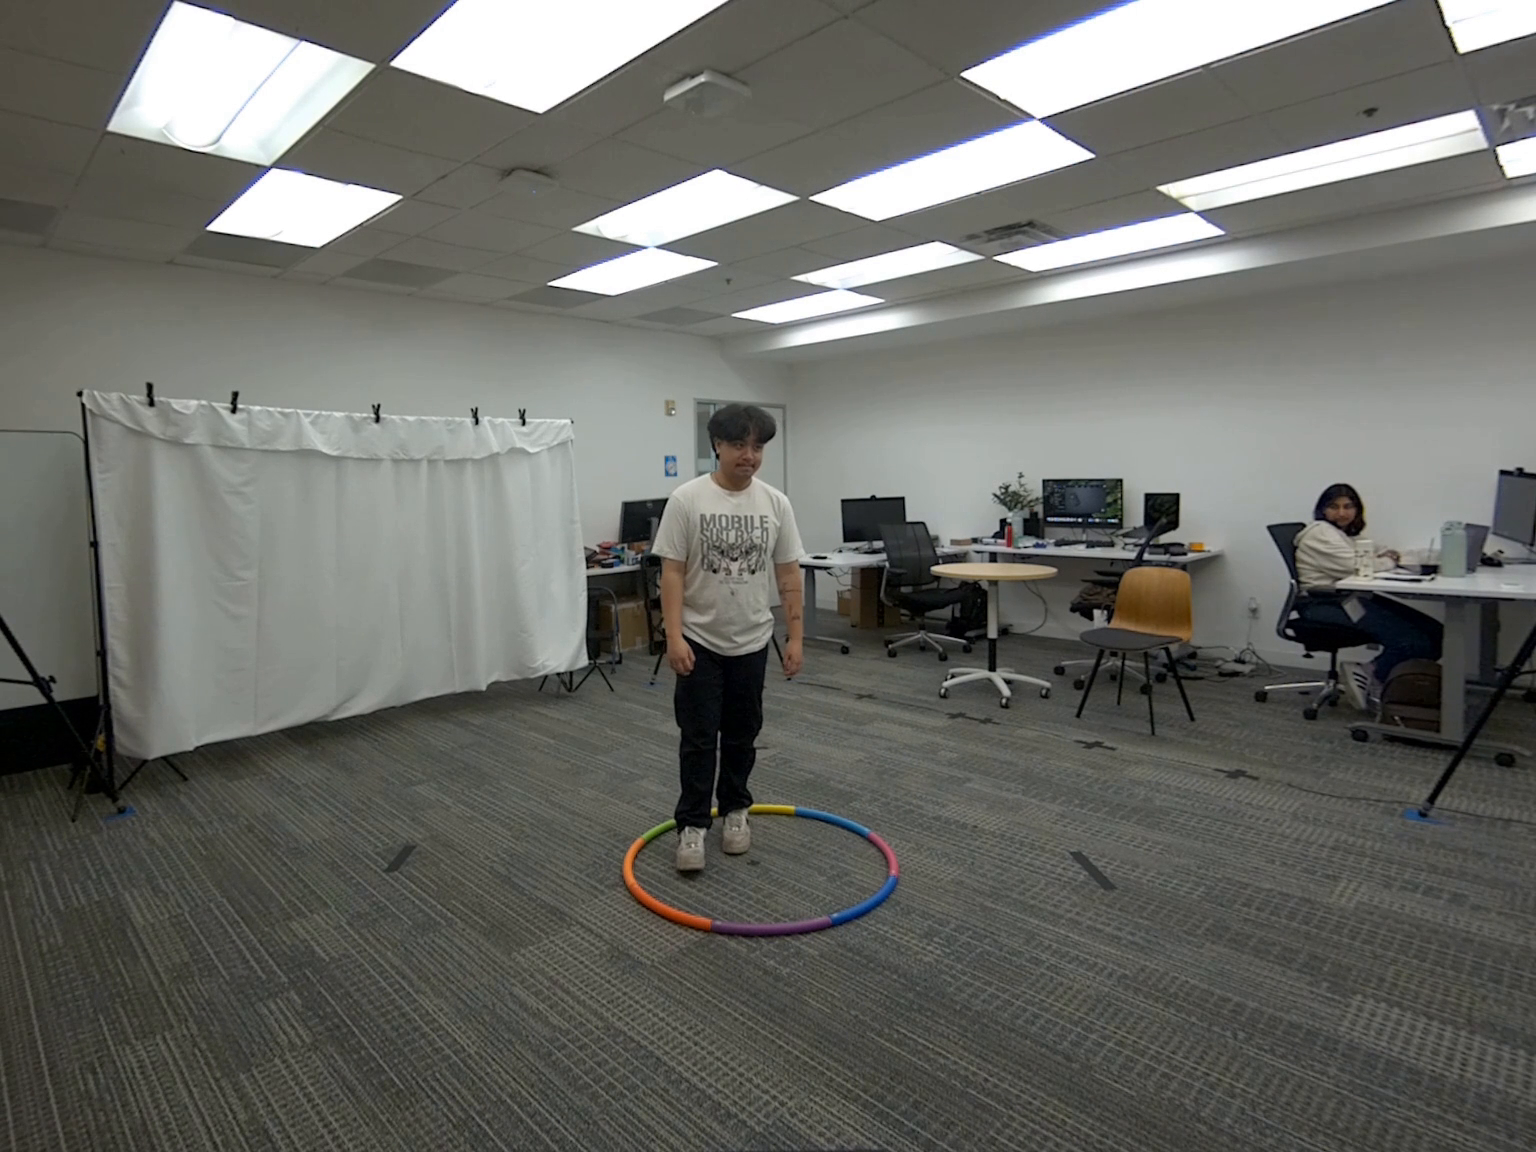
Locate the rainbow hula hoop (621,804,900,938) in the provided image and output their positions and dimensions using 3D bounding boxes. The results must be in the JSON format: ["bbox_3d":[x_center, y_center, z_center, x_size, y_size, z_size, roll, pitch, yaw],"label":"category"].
[{"bbox_3d":[-0.028,1.021,3.091,0.985,0.051,0.991,-1,6,-2],"label":"rainbow hula hoop"}]
